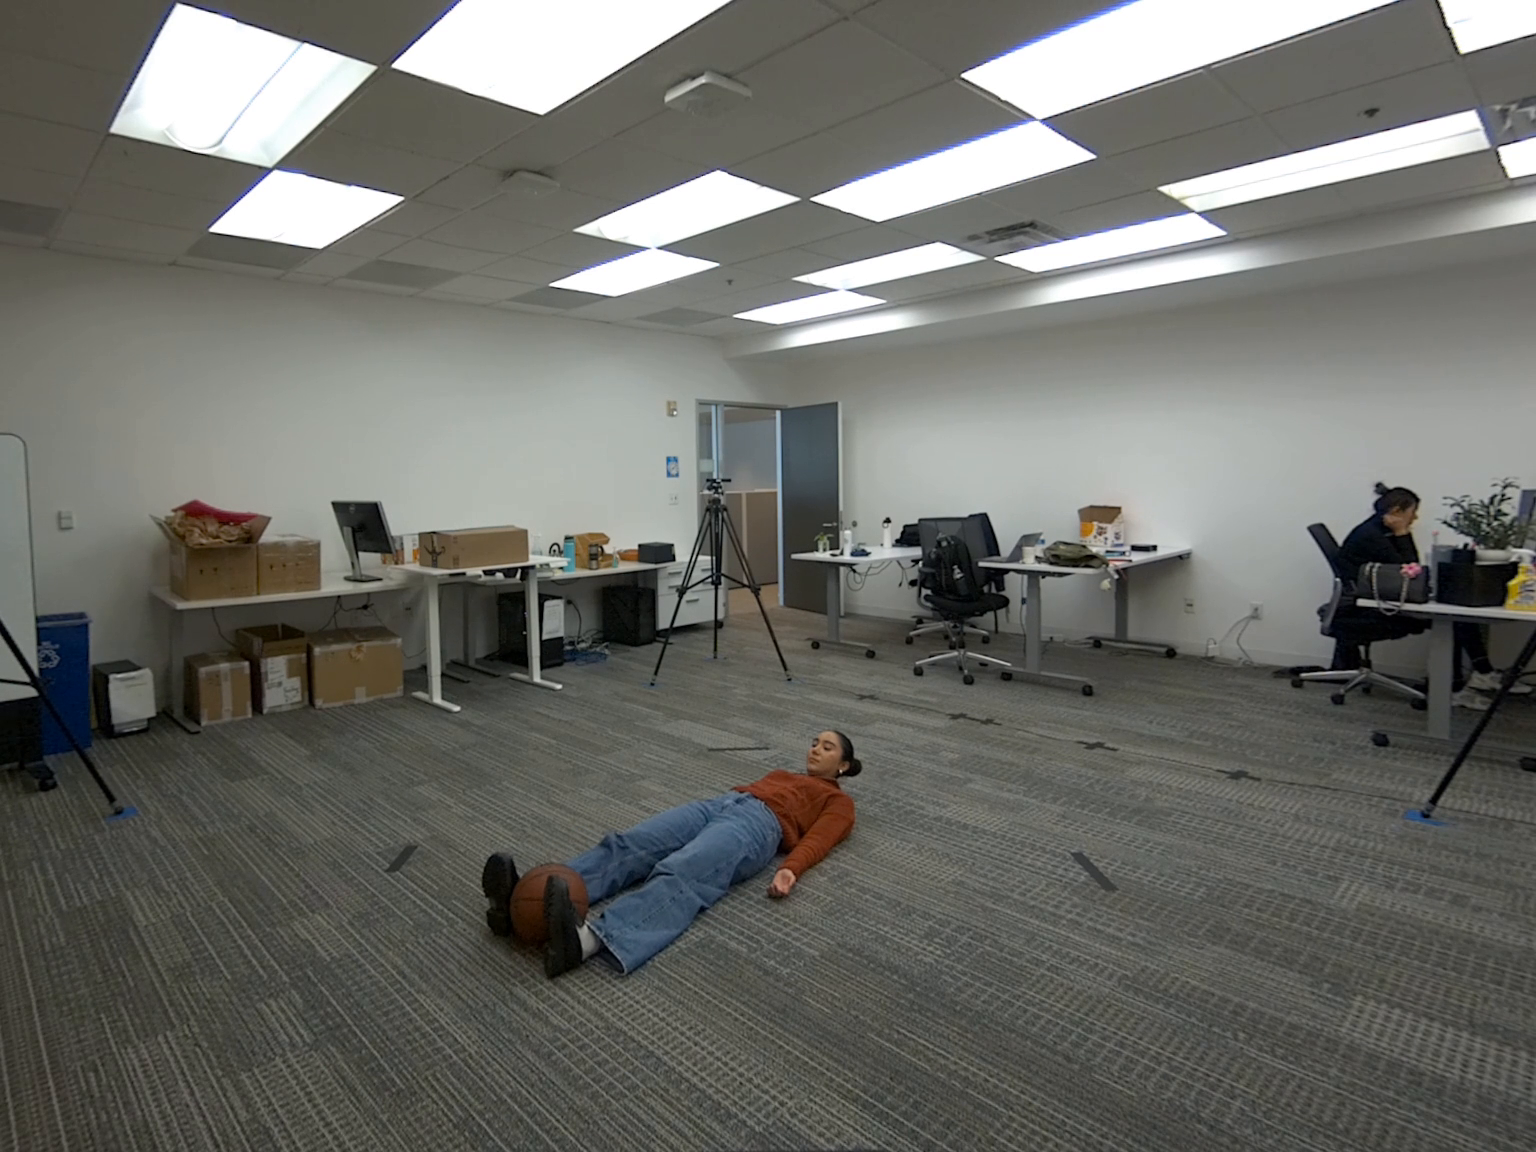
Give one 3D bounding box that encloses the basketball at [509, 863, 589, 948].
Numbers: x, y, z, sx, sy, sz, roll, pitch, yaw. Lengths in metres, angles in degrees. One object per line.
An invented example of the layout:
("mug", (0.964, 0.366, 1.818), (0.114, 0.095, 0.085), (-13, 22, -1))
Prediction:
("basketball", (-0.663, 1.004, 2.593), (0.236, 0.235, 0.237), (-1, 5, -2))
